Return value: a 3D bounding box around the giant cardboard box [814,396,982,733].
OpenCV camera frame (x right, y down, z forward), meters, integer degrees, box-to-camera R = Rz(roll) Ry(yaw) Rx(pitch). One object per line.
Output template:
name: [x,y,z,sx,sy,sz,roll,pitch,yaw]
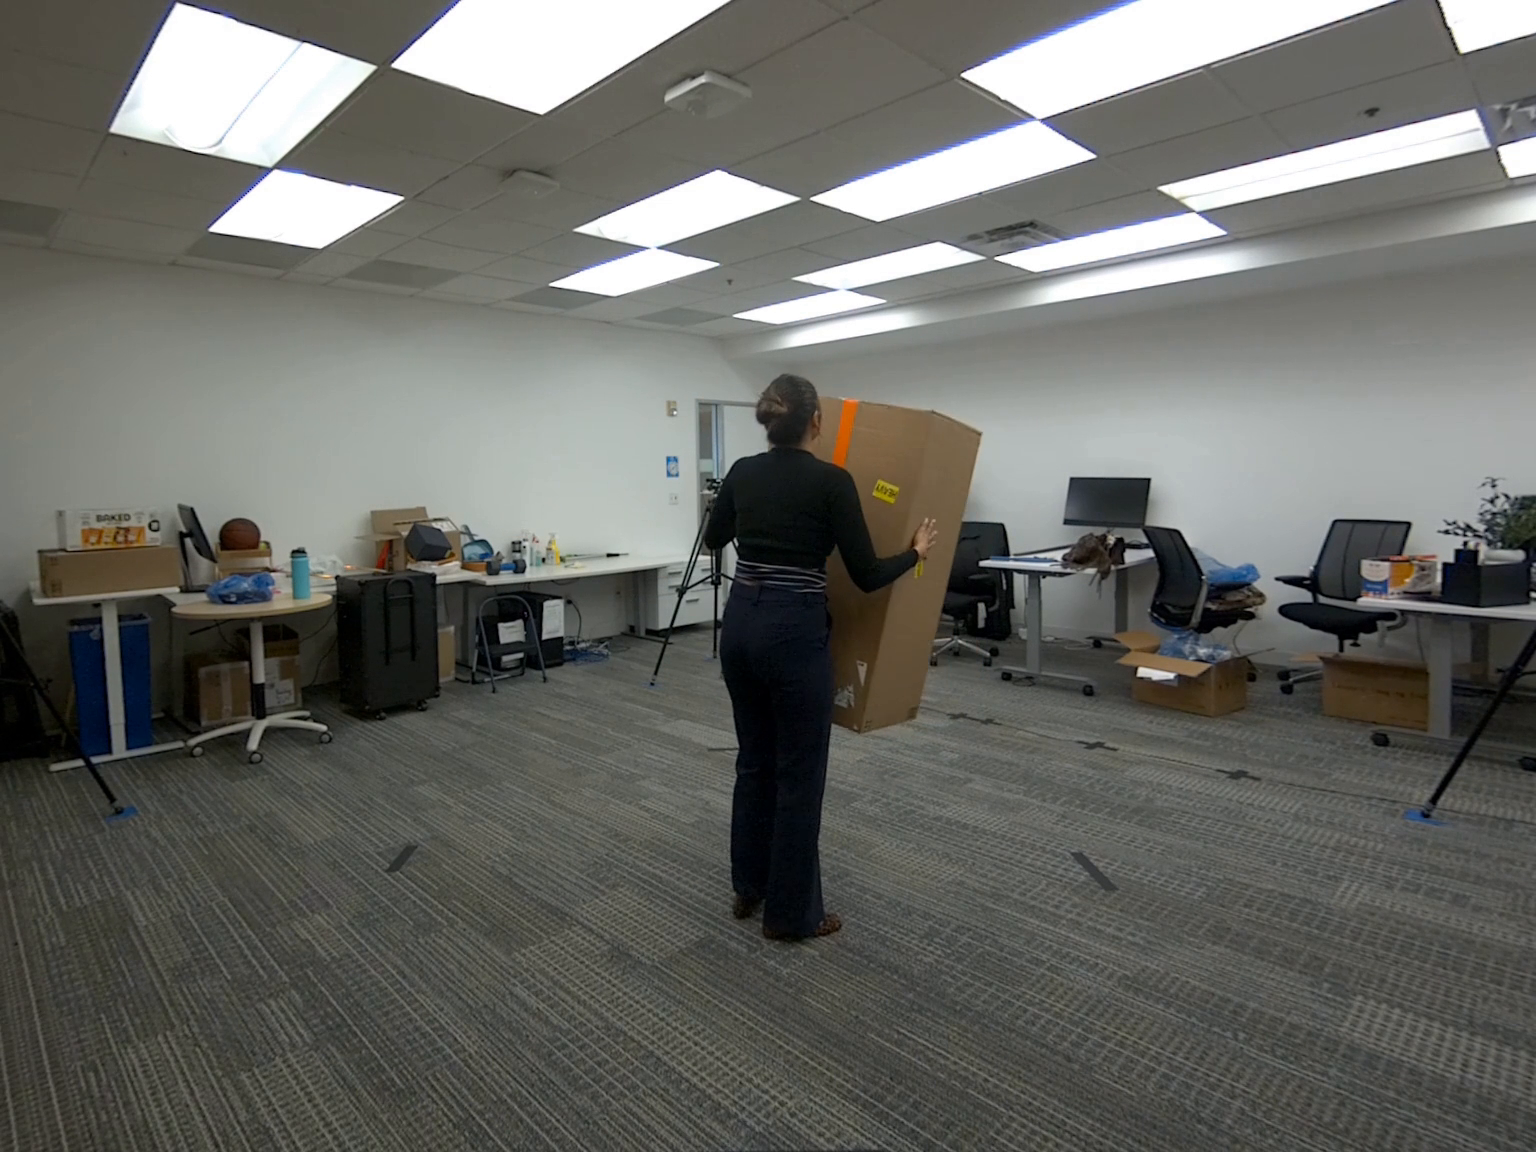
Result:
giant cardboard box: [0.277,-0.065,2.951,0.597,1.023,0.413,15,5,35]
